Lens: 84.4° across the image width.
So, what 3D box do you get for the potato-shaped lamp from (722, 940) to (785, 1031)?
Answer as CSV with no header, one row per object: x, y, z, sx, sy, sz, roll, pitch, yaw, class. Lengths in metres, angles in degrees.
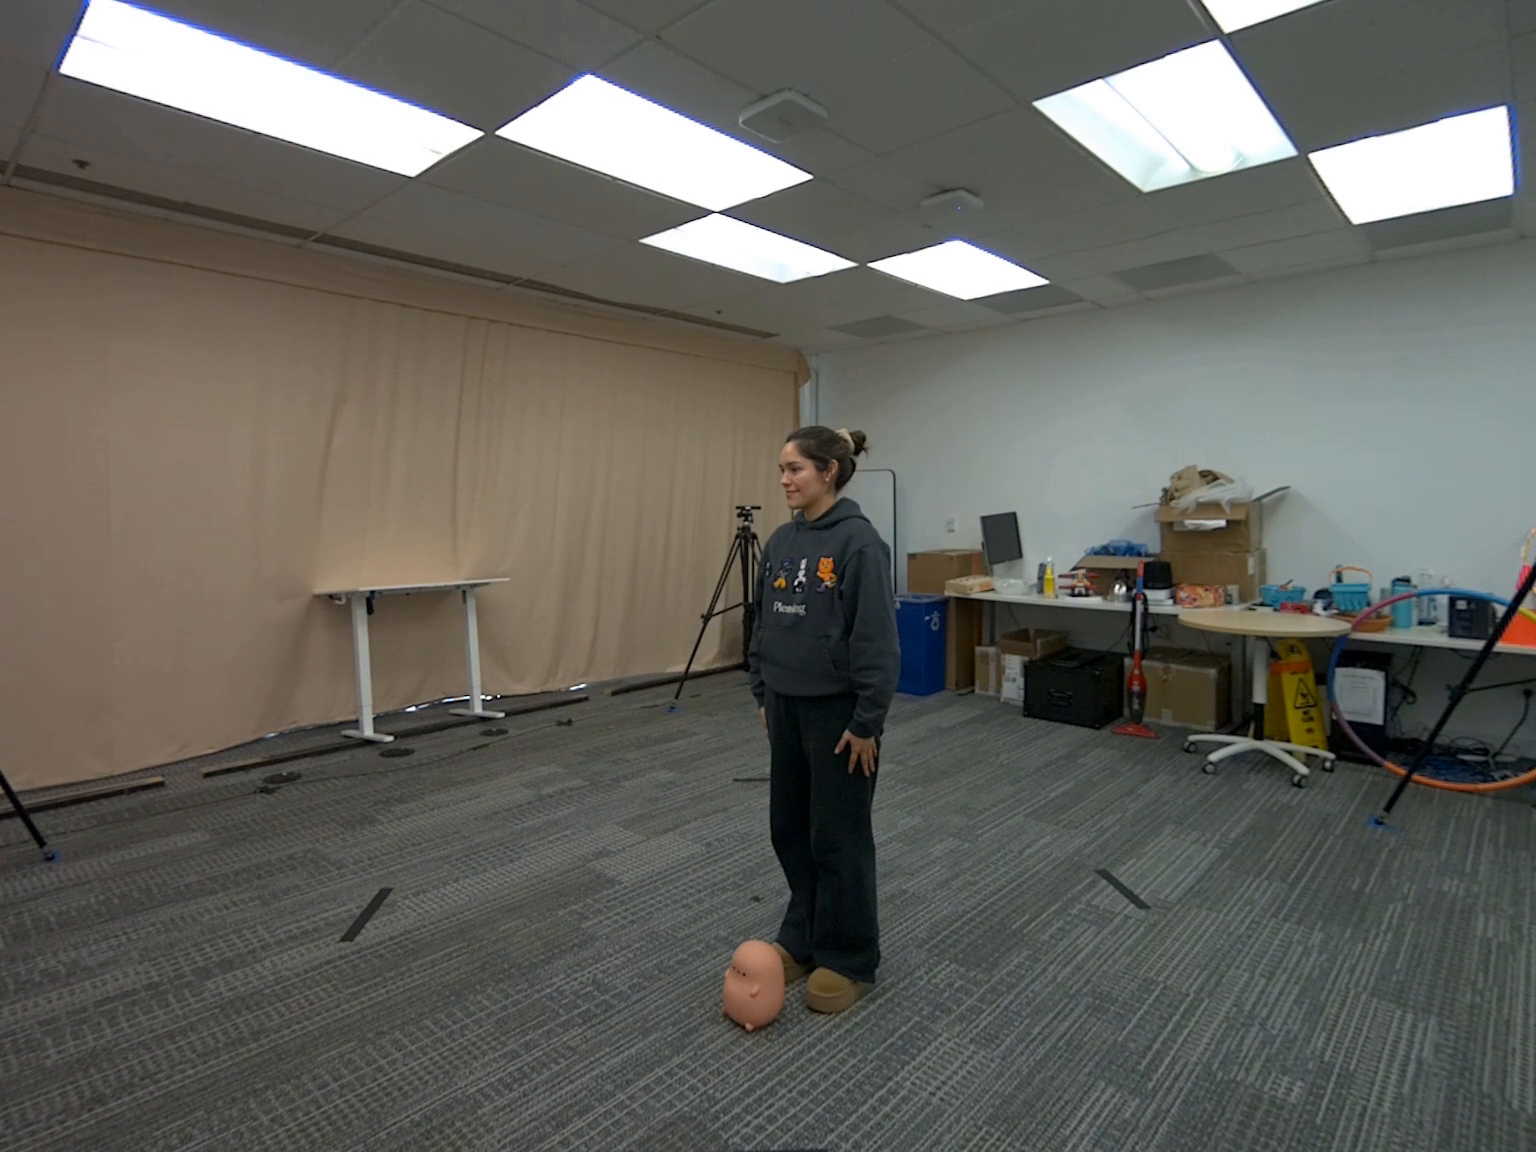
-0.026,1.120,2.297,0.176,0.200,0.159,-13,-32,36,potato-shaped lamp
